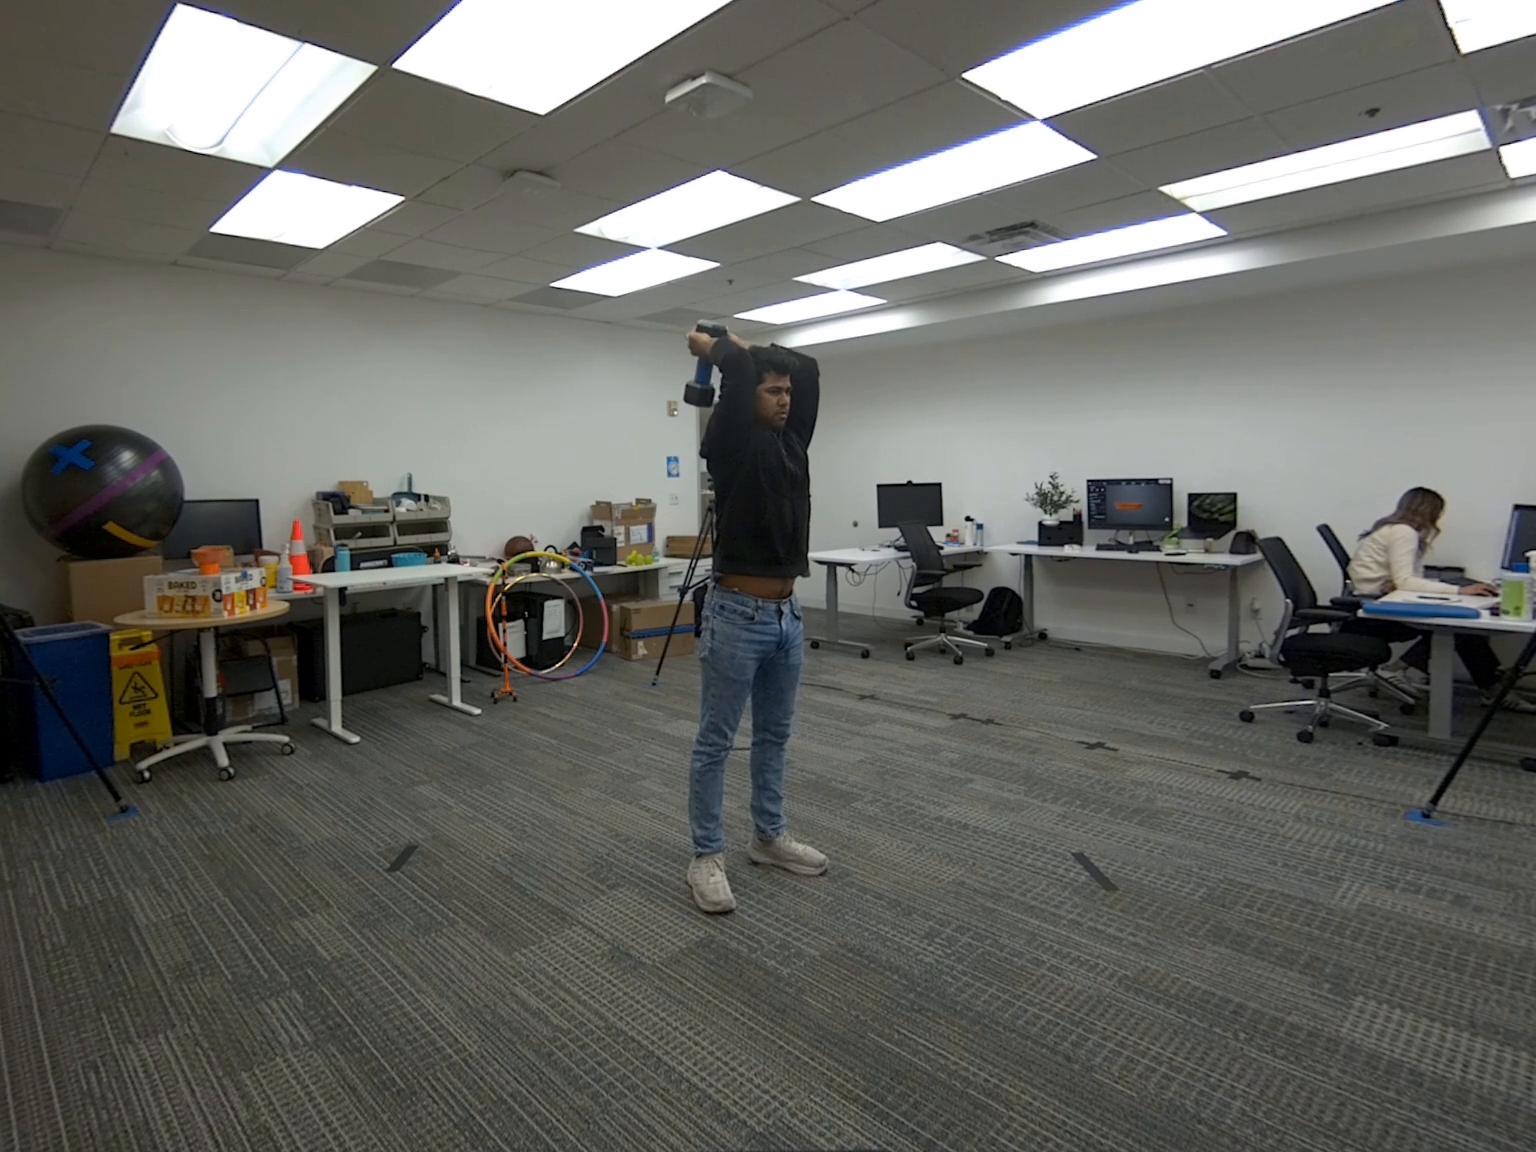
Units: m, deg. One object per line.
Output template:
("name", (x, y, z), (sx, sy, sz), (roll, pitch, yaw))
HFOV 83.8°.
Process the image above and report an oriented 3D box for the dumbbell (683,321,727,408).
("dumbbell", (-0.211, -0.742, 3.011), (0.120, 0.290, 0.113), (1, 22, -28))
